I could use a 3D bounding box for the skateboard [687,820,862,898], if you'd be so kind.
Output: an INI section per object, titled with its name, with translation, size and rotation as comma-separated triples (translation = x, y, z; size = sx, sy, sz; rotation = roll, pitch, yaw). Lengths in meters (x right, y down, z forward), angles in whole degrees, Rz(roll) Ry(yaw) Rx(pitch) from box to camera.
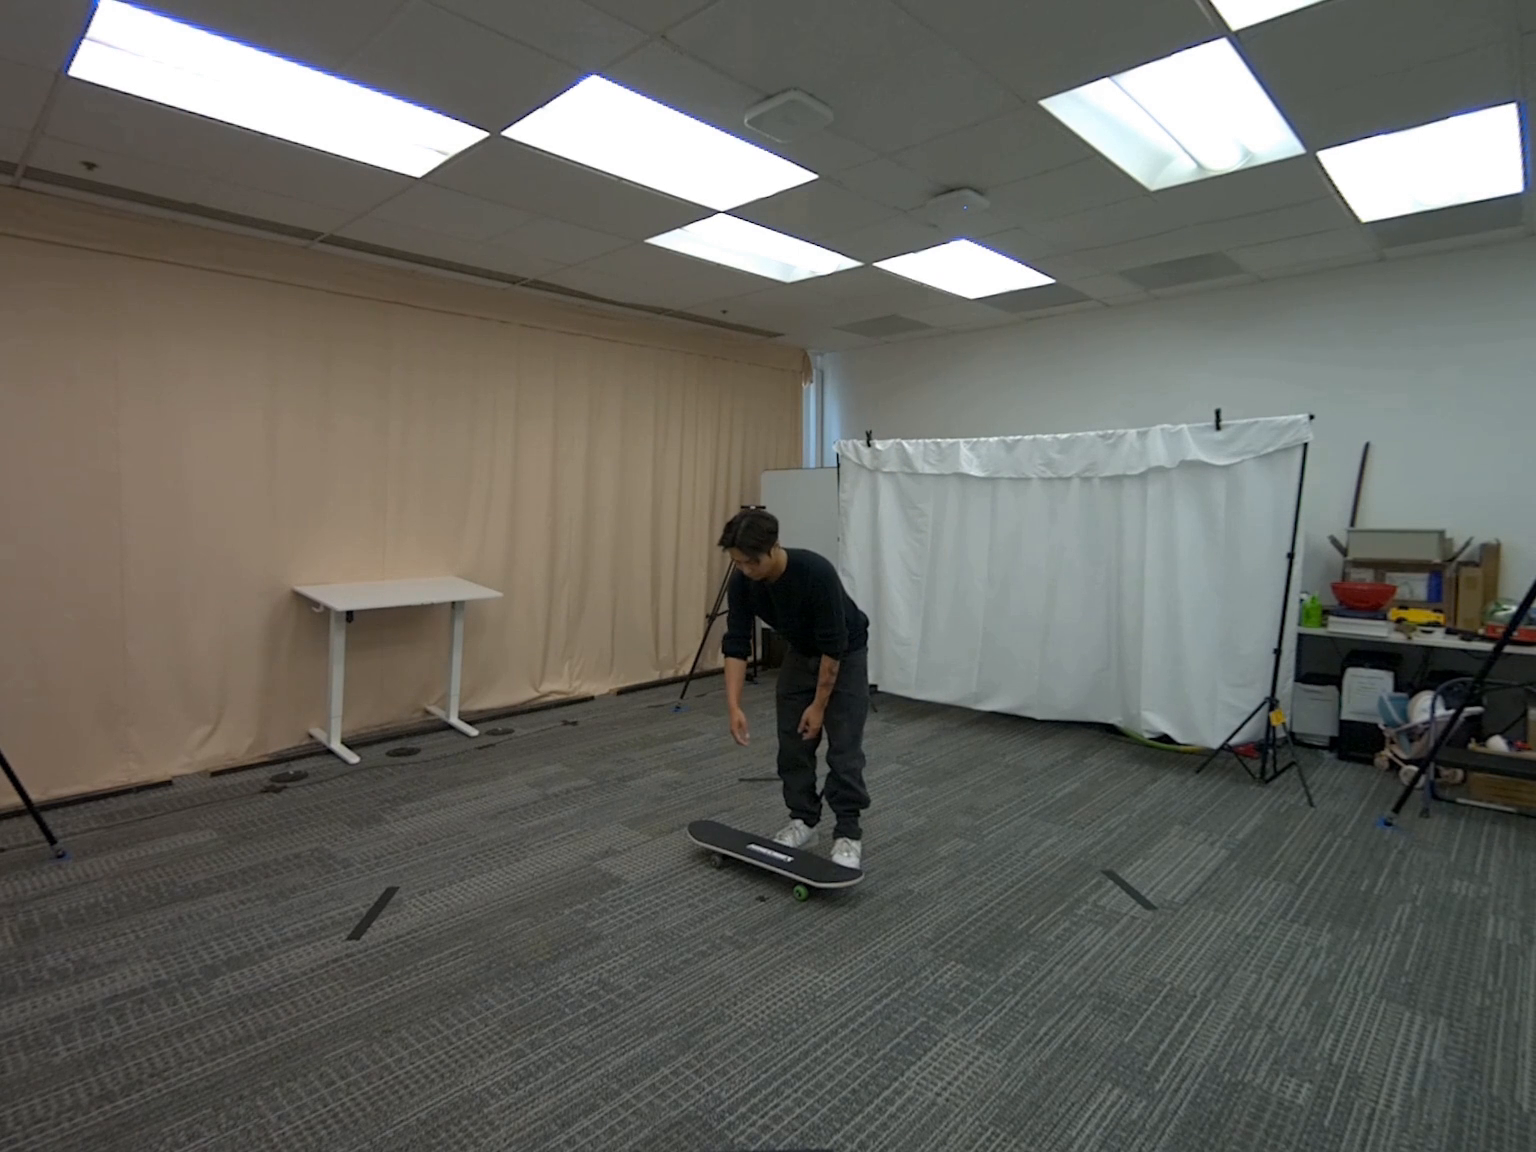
[skateboard]
translation = 0.014, 1.065, 3.164
size = 0.811, 0.110, 0.188
rotation = 4, 6, 40
